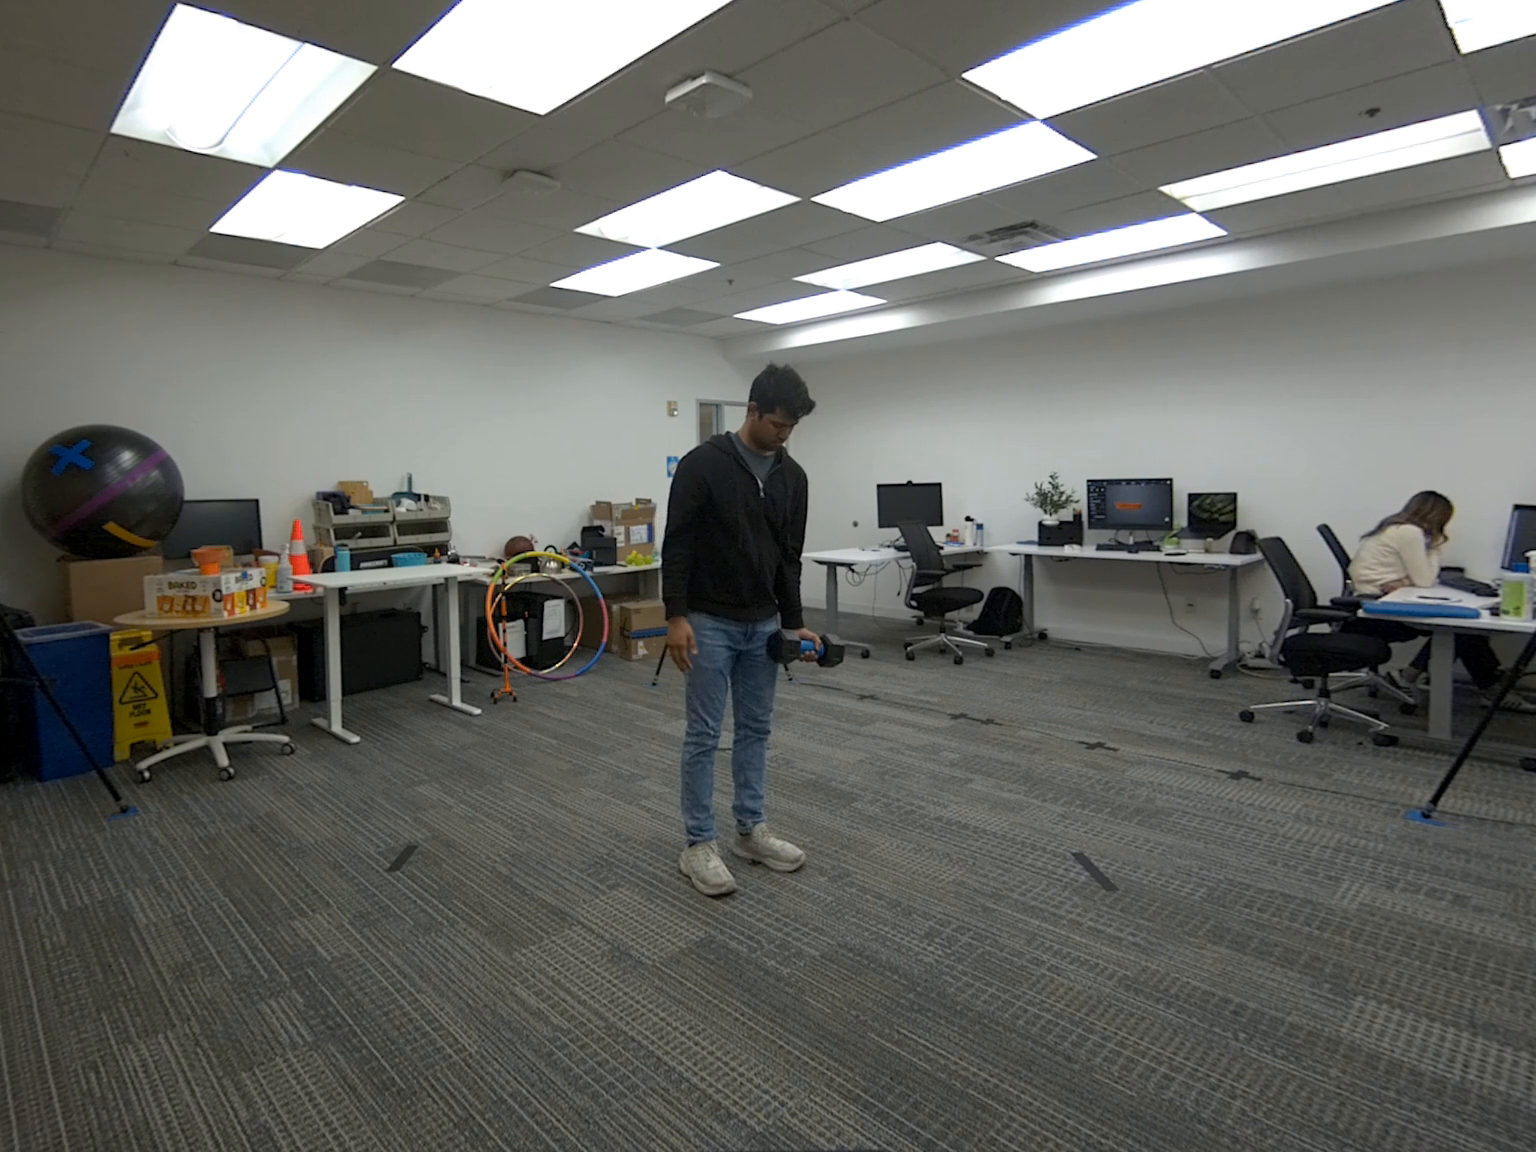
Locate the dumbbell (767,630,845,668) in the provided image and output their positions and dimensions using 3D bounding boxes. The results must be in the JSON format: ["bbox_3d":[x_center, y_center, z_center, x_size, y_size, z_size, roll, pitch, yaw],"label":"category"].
[{"bbox_3d":[0.145,0.254,3.050,0.285,0.108,0.128,8,26,-33],"label":"dumbbell"}]
